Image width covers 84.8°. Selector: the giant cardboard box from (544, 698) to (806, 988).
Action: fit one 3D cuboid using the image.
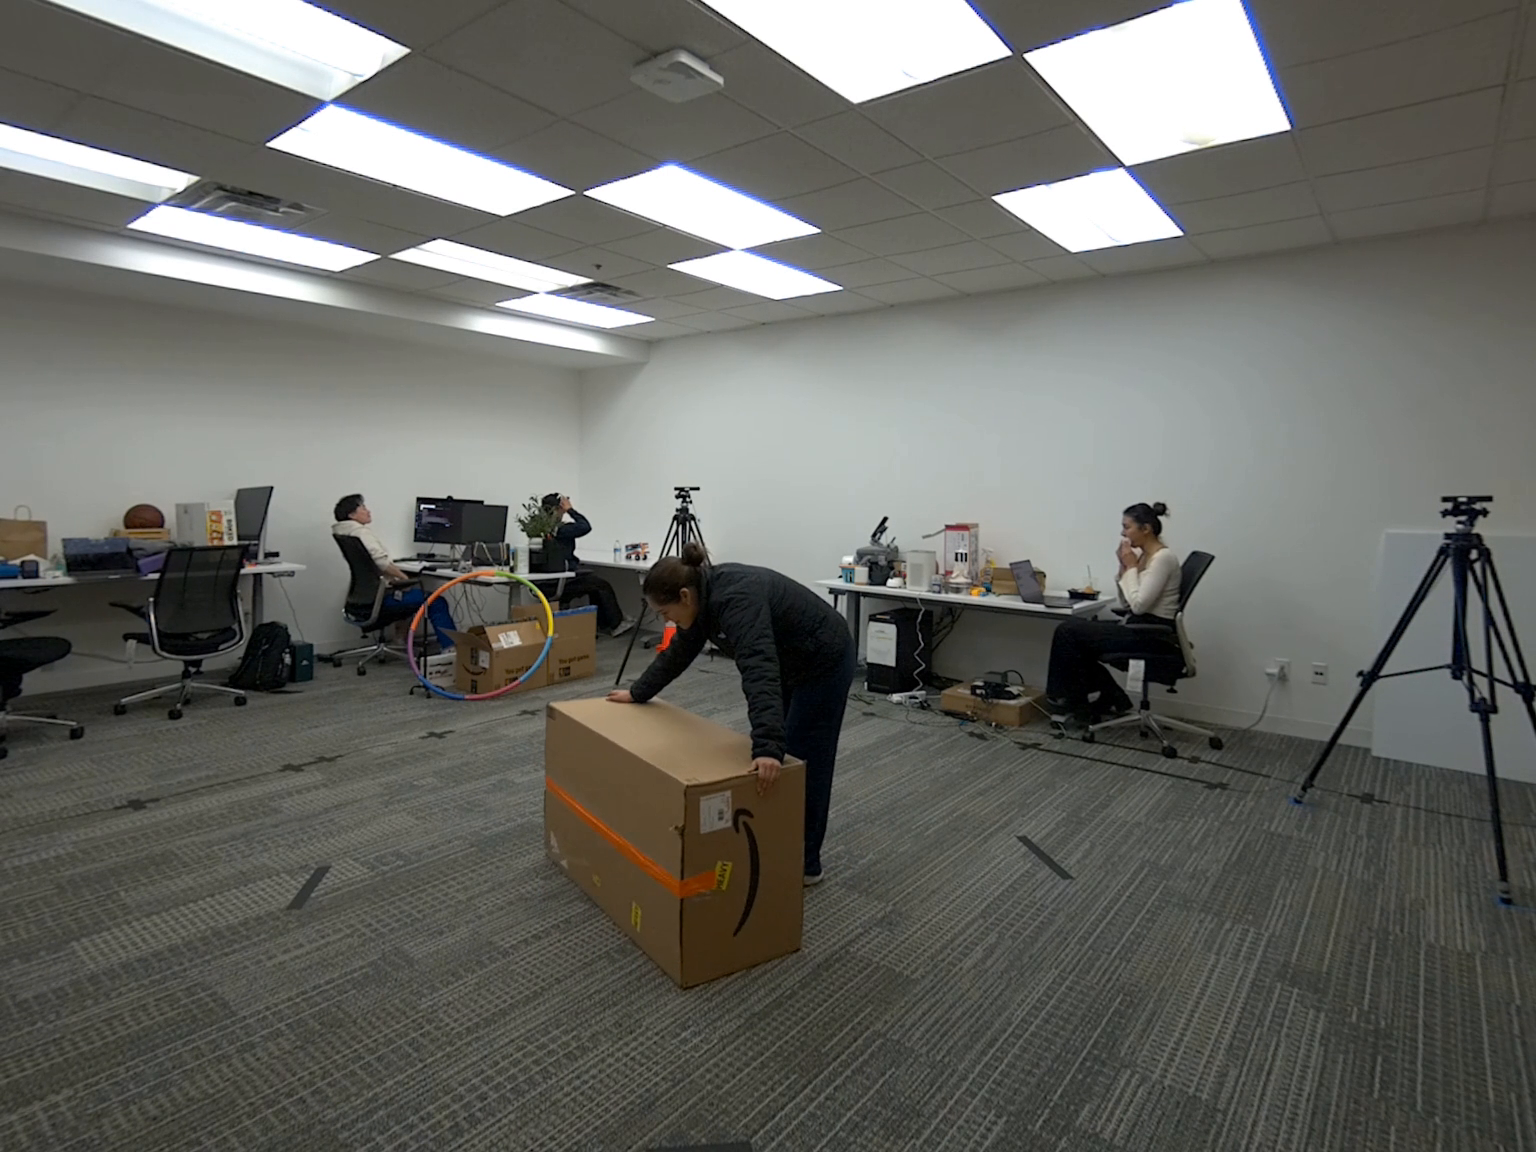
[{"bbox_3d":[-0.351,0.799,2.881,0.434,0.583,1.060,1,4,-33],"label":"giant cardboard box"}]
